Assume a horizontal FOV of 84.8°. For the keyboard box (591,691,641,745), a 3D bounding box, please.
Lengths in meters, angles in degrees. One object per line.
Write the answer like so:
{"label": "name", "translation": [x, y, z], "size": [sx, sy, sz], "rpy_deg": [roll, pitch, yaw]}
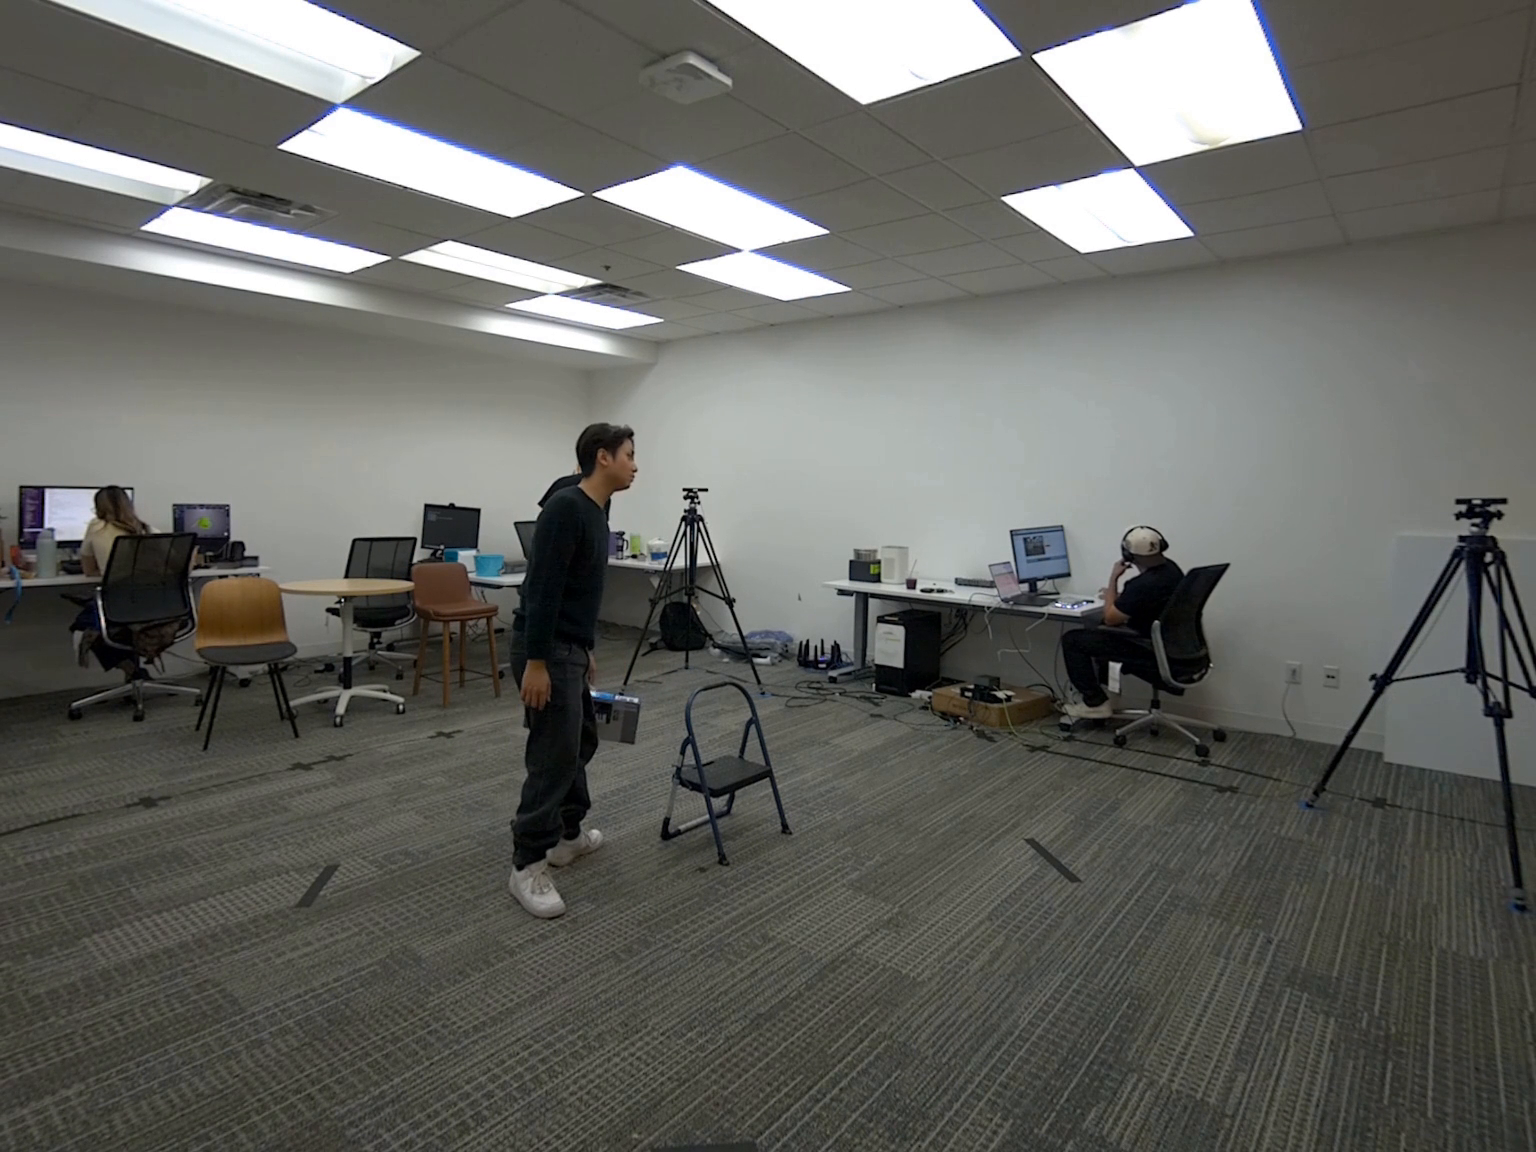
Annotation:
{"label": "keyboard box", "translation": [-0.731, 0.533, 3.305], "size": [0.436, 0.174, 0.059], "rpy_deg": [8, 11, 0]}
